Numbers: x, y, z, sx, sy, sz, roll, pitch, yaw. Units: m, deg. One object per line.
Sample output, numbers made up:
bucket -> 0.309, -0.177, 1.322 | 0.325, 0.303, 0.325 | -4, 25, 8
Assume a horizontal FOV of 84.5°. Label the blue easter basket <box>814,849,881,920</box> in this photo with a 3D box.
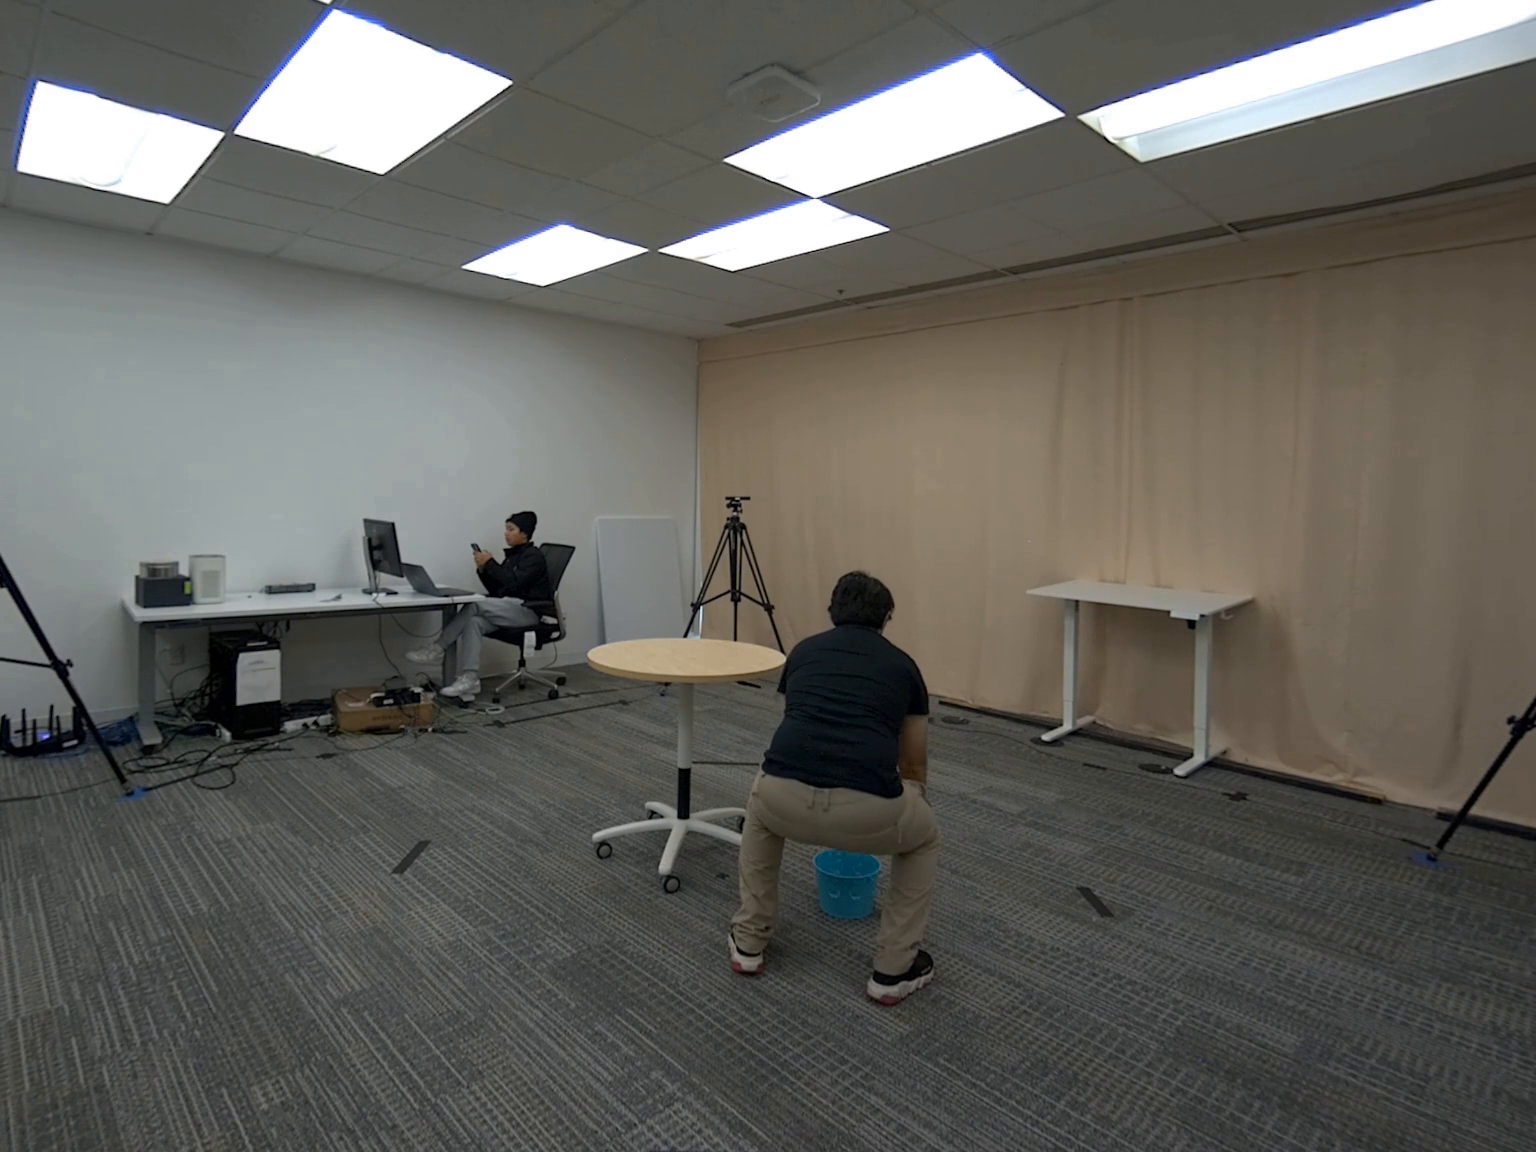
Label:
blue easter basket -> 0.268, 1.056, 2.891 | 0.243, 0.155, 0.244 | 1, 4, -1
